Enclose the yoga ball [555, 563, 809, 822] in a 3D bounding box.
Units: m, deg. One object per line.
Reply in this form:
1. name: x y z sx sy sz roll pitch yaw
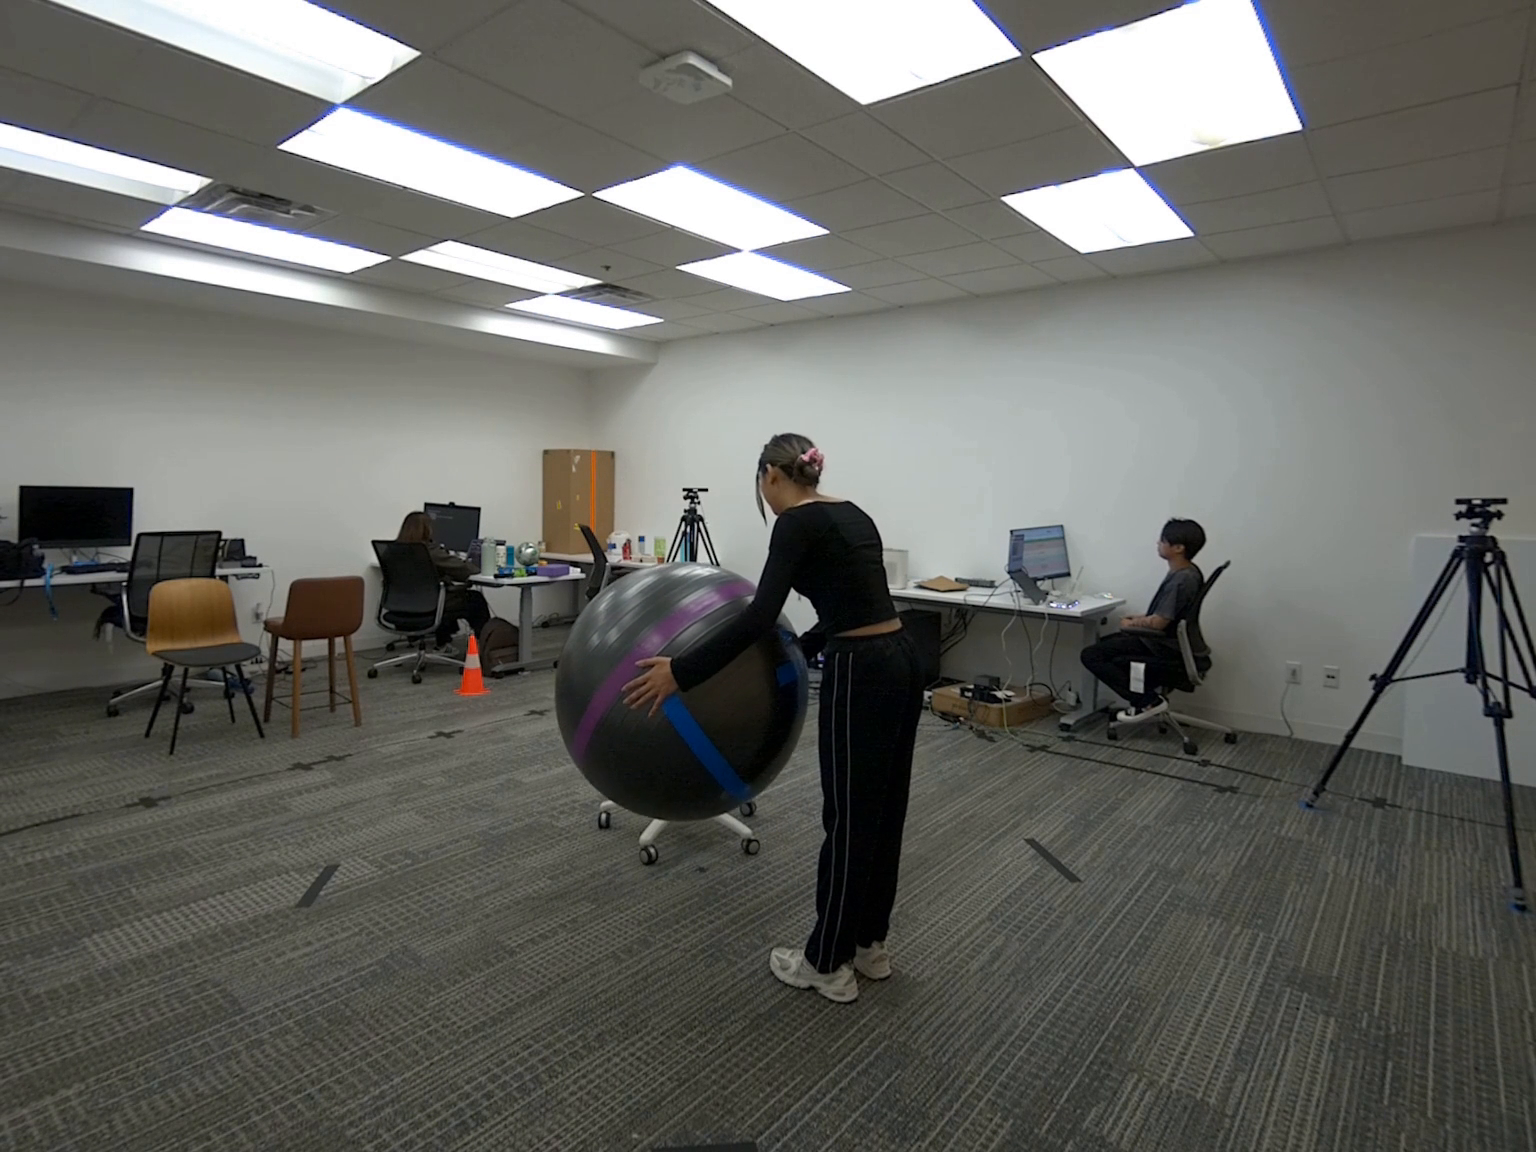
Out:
1. yoga ball: -0.265 0.342 2.546 0.757 0.756 0.762 1 4 -2
